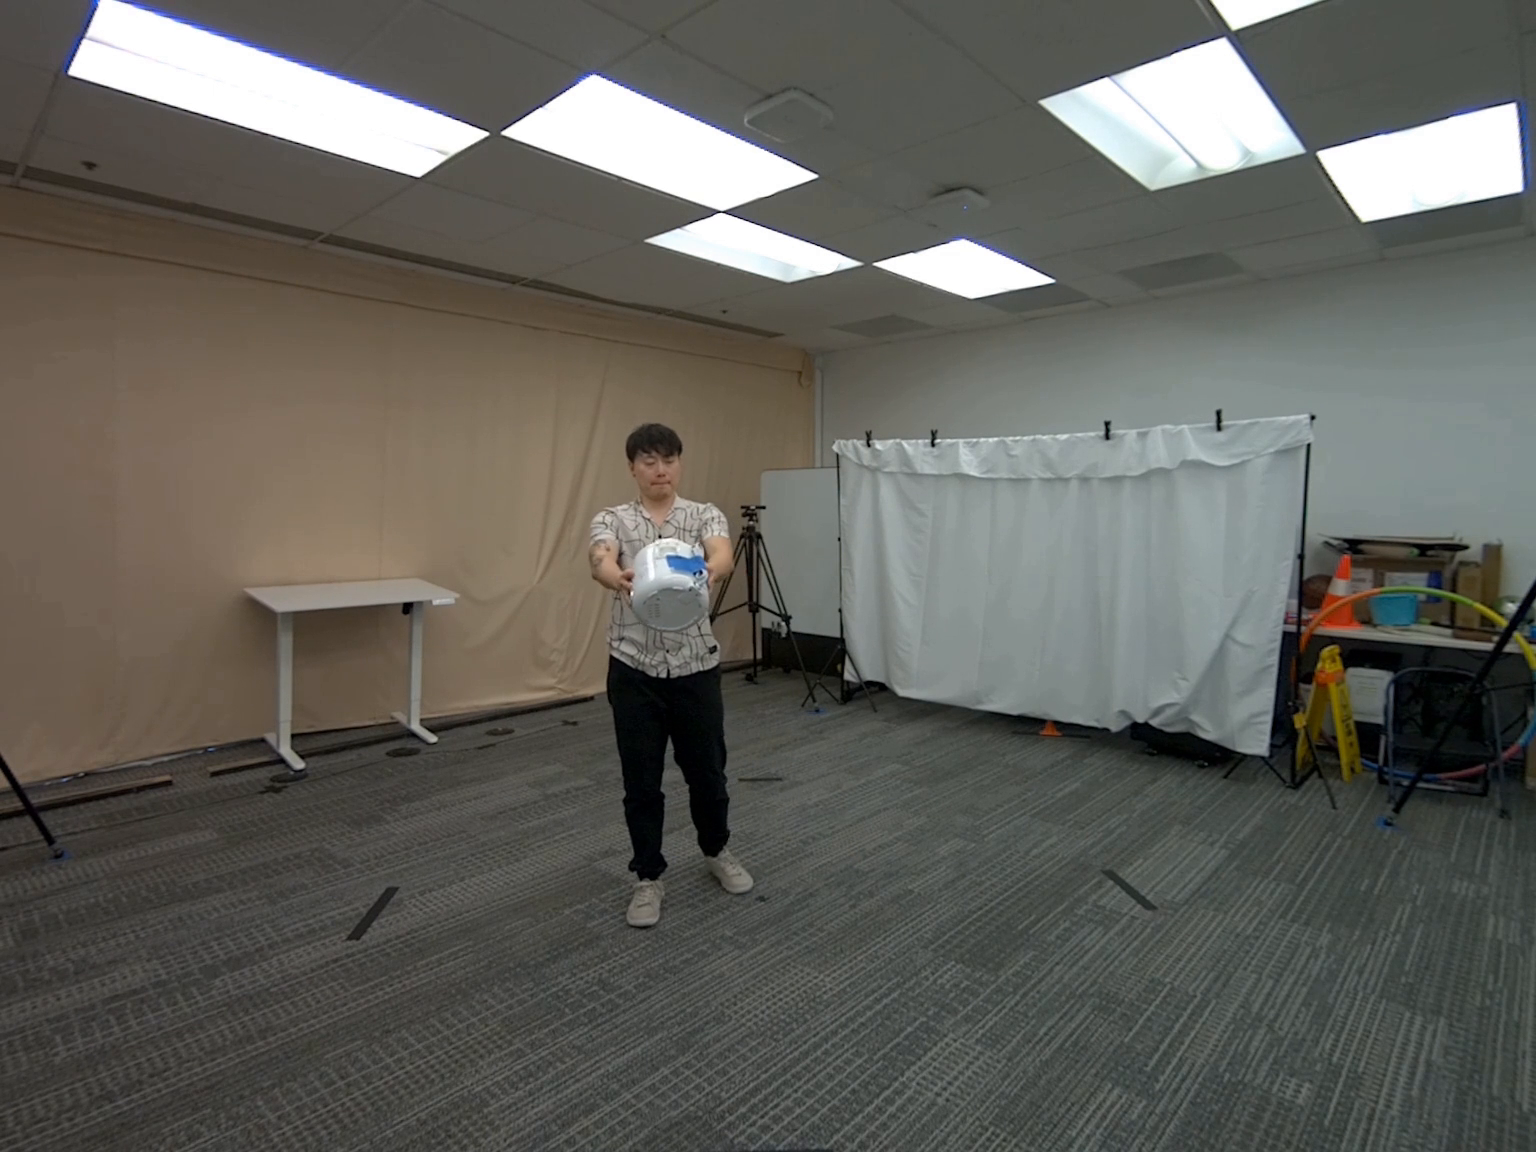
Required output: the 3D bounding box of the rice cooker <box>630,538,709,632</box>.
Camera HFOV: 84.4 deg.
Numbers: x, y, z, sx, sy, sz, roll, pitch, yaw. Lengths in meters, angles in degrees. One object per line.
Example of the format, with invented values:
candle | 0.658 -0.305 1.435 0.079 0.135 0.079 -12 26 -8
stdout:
rice cooker | -0.273 0.019 2.381 0.216 0.217 0.238 -3 37 -6
